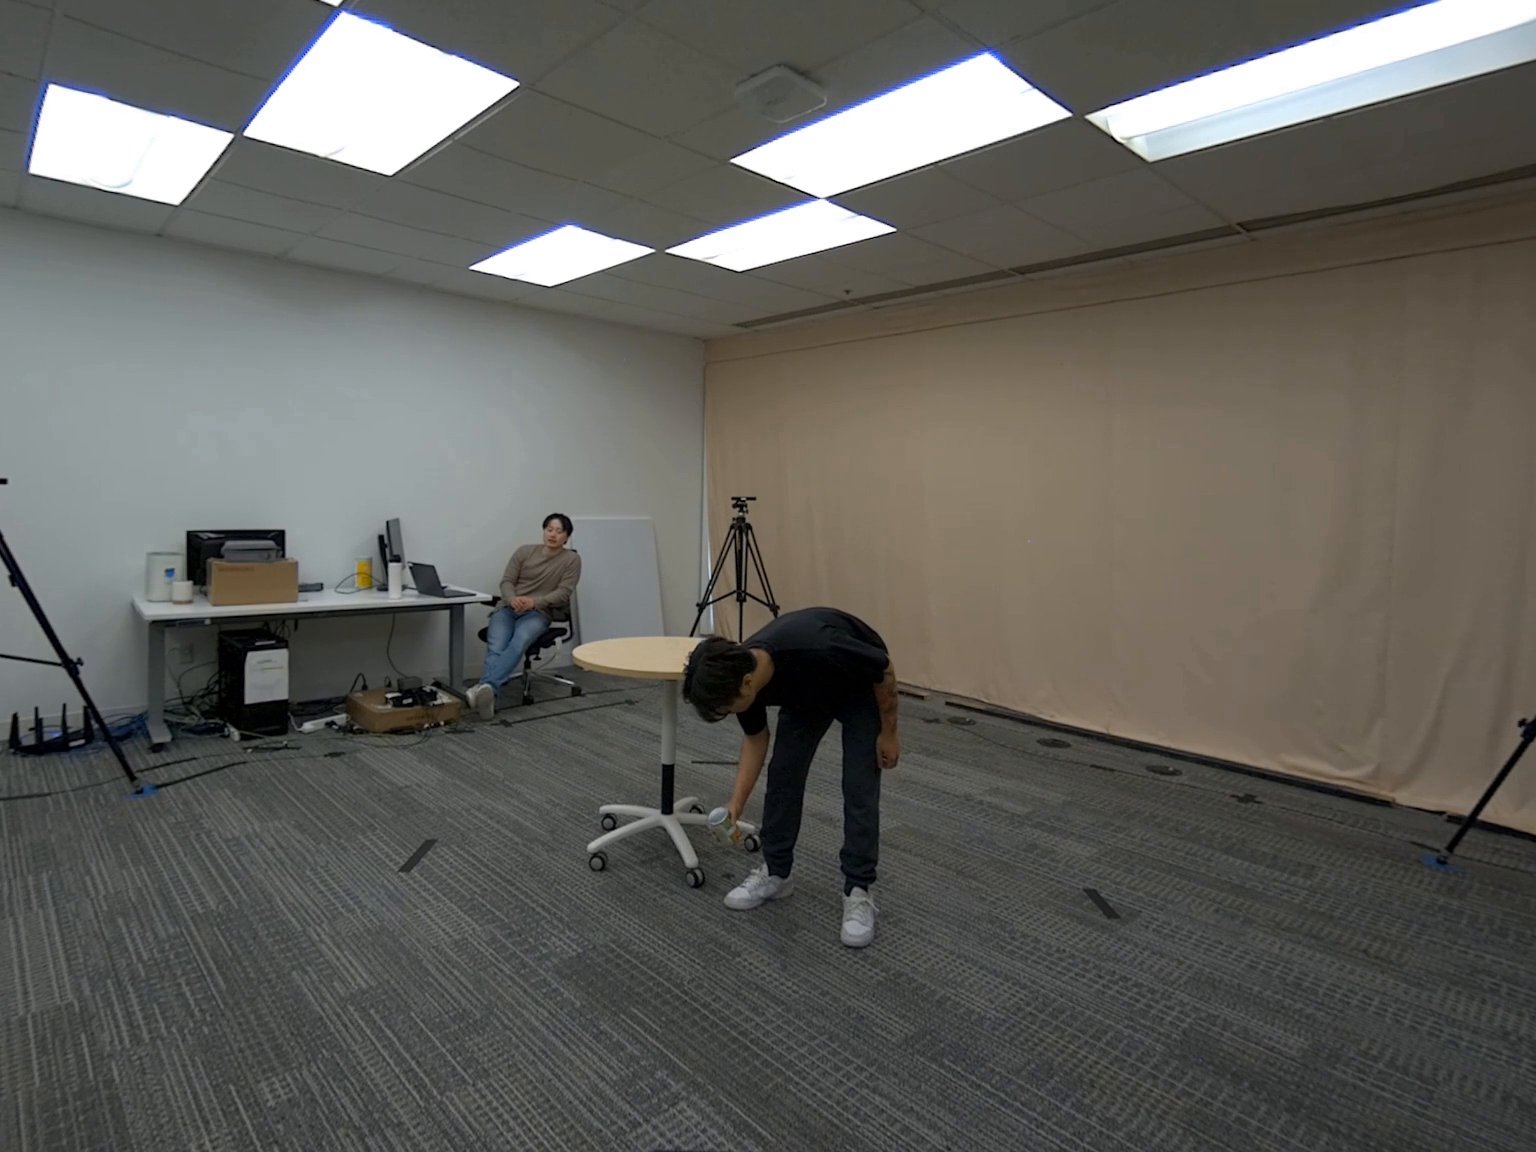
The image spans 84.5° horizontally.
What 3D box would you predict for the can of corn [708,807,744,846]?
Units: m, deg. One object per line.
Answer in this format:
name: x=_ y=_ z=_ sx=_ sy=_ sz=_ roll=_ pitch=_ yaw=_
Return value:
can of corn: x=-0.145 y=0.803 z=2.702 sx=0.074 sy=0.109 sz=0.075 roll=-22 pitch=18 yaw=6
